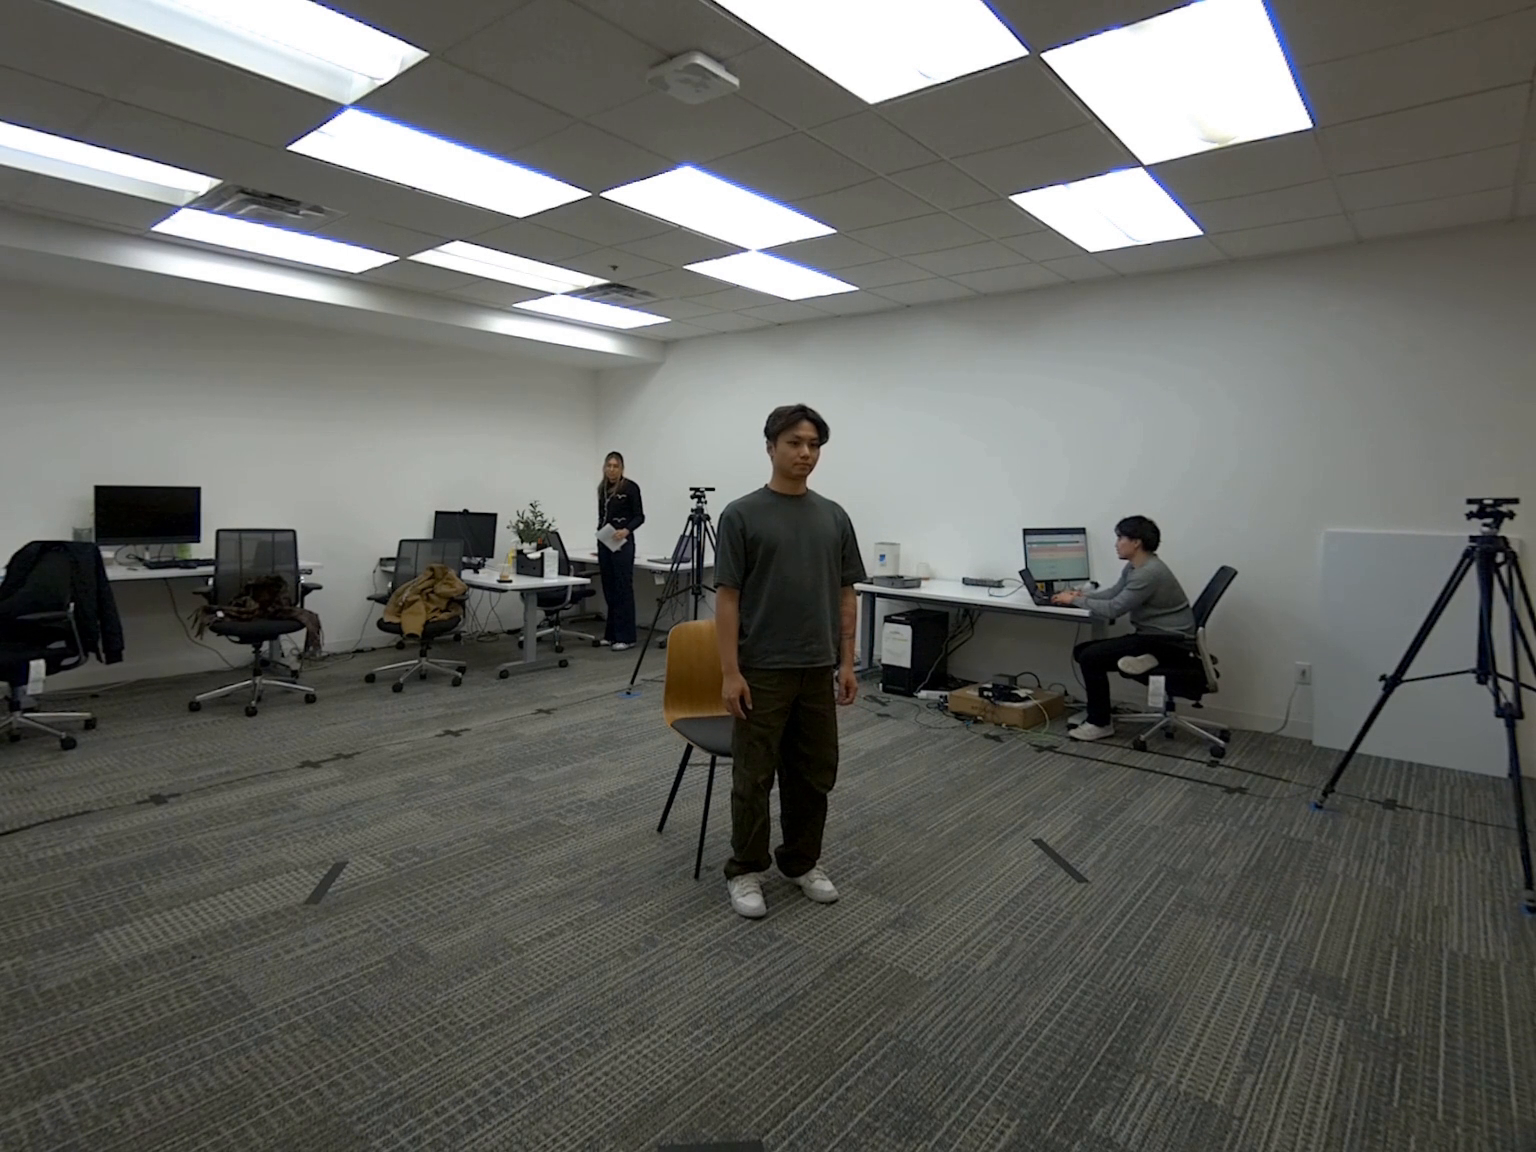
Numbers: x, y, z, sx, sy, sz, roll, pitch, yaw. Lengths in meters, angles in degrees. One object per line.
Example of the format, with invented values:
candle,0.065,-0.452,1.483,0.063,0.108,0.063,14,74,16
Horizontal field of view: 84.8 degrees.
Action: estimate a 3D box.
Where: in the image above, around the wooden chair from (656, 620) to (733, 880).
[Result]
wooden chair,-0.150,0.623,3.278,0.467,0.878,0.535,0,0,-24
